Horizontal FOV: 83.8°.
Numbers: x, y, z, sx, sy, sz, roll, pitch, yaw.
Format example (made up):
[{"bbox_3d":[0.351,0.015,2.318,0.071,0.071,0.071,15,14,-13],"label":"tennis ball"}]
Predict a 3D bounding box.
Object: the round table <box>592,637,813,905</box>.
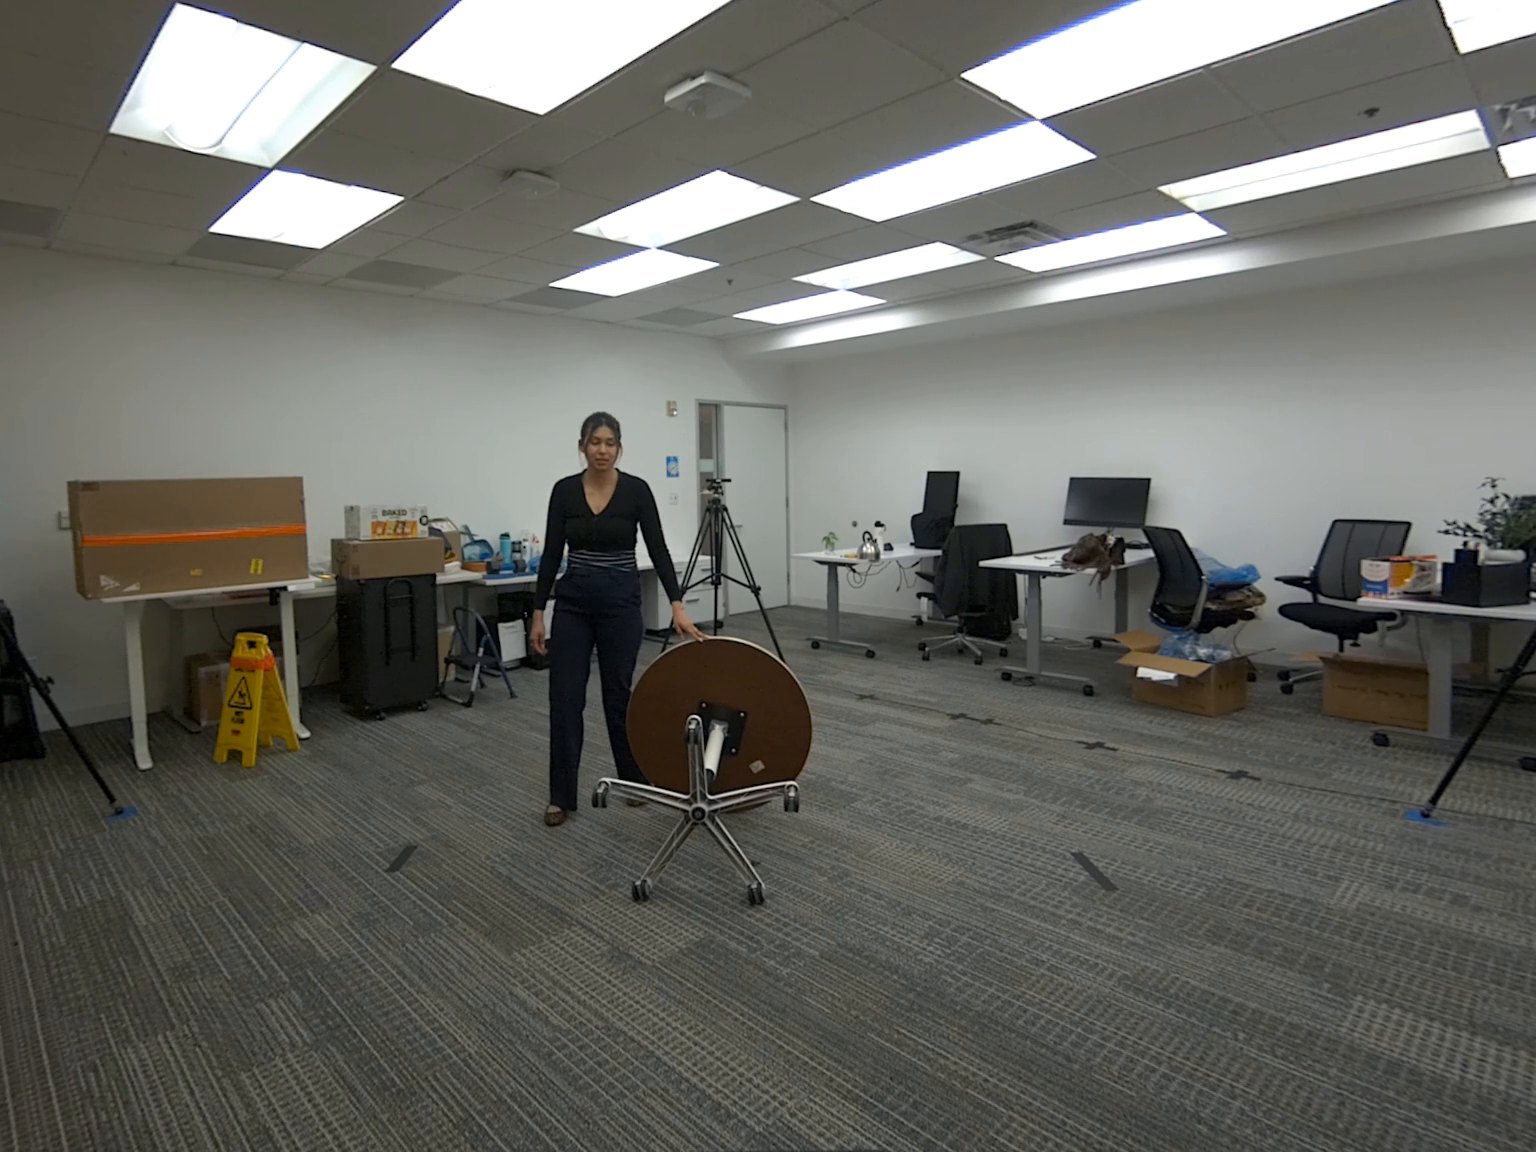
[{"bbox_3d":[-0.215,0.718,3.138,0.767,0.756,0.799,-1,12,4],"label":"round table"}]
